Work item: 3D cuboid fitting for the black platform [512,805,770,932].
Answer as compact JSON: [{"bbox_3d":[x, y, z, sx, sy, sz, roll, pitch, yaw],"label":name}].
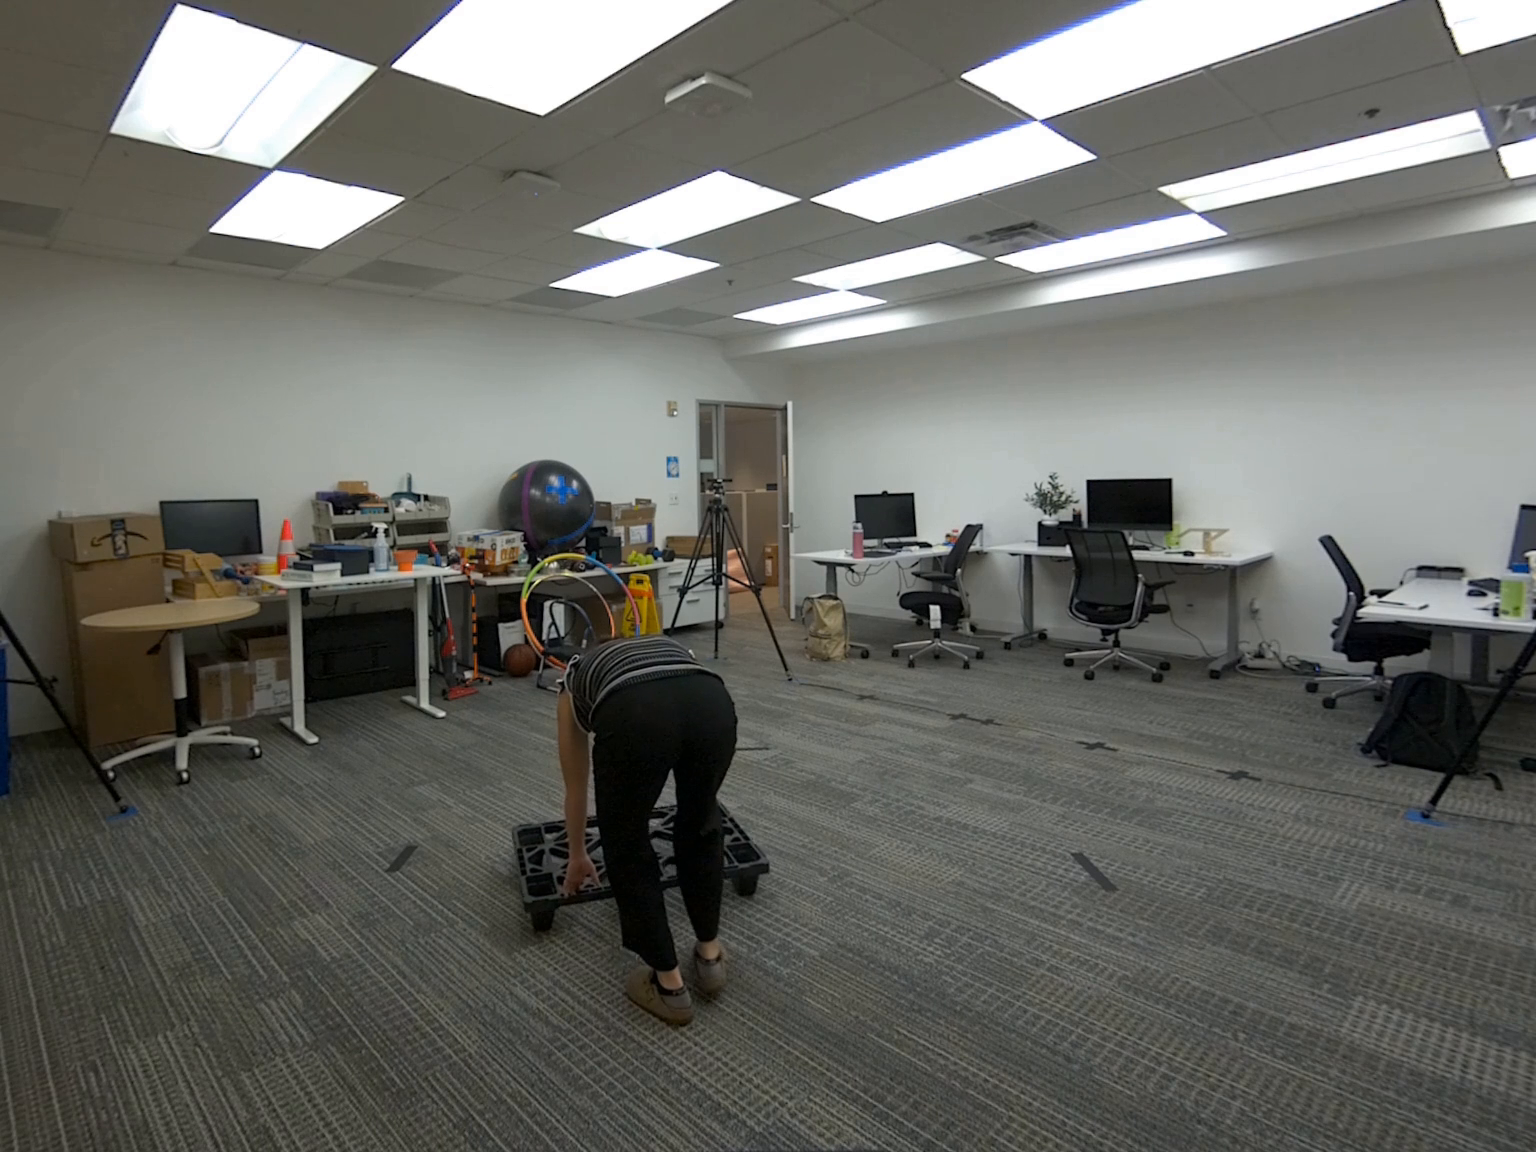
[{"bbox_3d":[-0.464,0.996,2.988,0.793,0.143,0.618,-3,7,-18],"label":"black platform"}]
